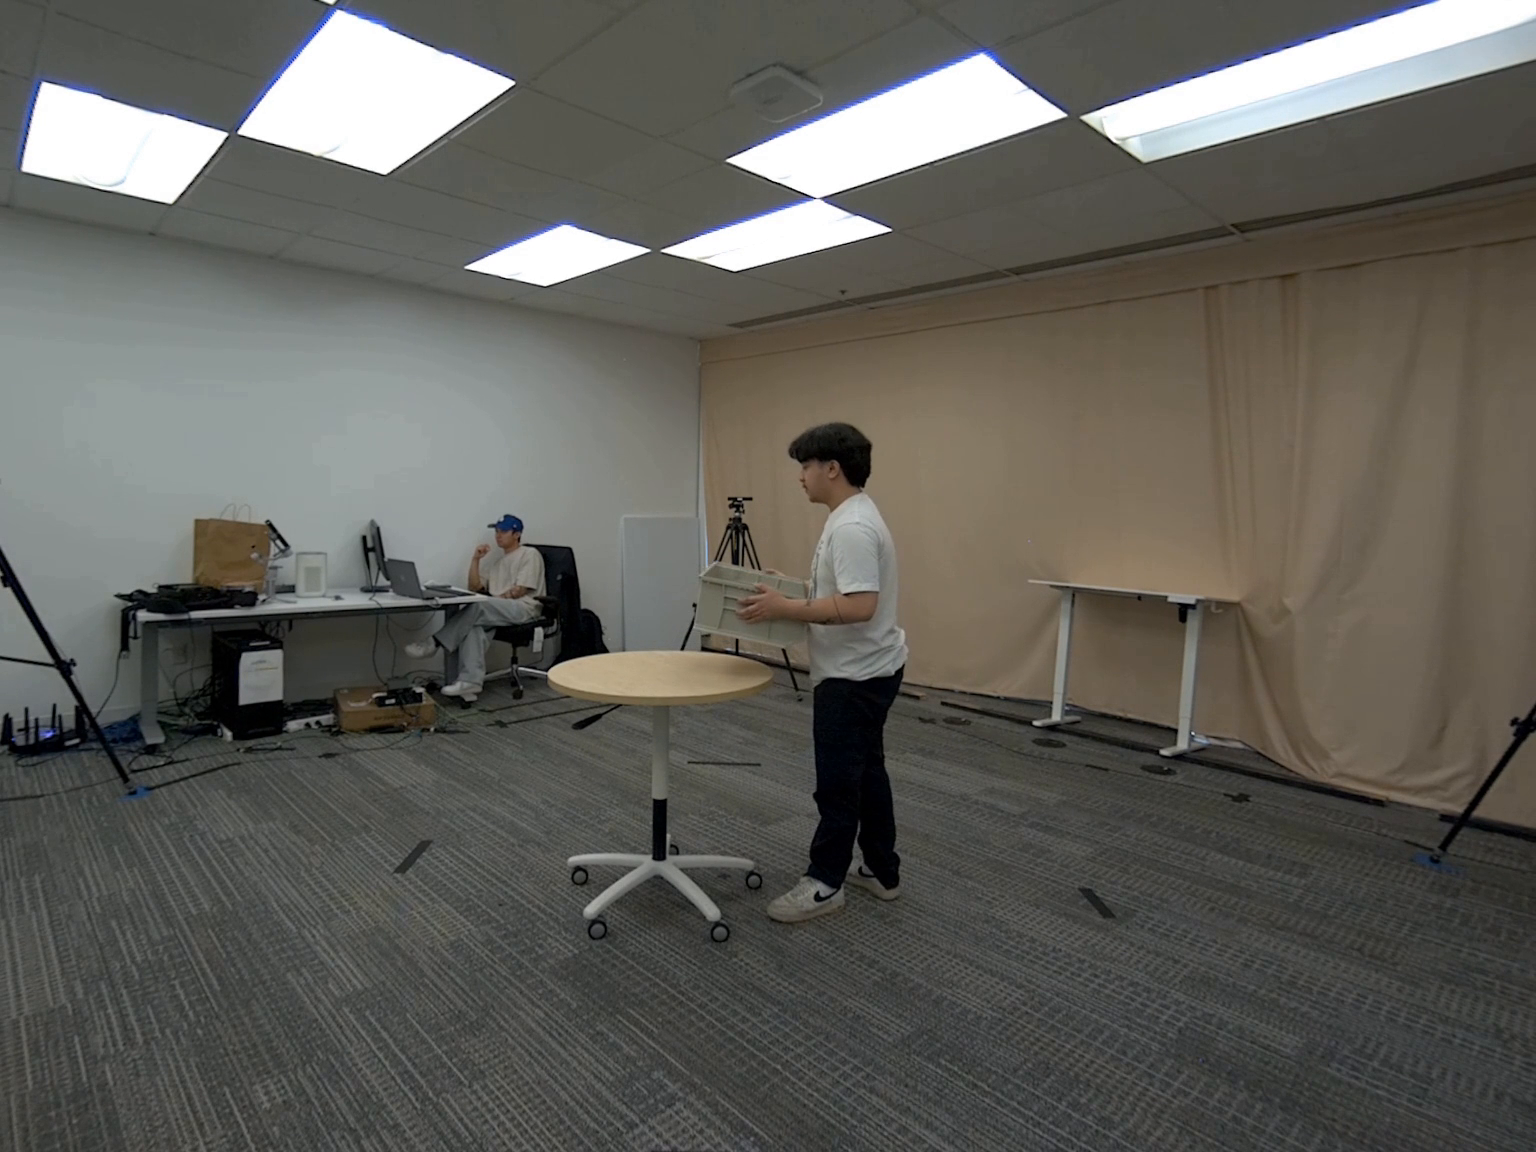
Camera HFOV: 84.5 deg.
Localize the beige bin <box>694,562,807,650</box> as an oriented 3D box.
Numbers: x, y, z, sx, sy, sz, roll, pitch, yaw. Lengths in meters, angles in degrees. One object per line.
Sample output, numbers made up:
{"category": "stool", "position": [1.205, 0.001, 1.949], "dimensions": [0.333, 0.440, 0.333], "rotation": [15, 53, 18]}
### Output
{"category": "beige bin", "position": [-0.047, 0.099, 2.926], "dimensions": [0.379, 0.188, 0.422], "rotation": [9, 9, 5]}
